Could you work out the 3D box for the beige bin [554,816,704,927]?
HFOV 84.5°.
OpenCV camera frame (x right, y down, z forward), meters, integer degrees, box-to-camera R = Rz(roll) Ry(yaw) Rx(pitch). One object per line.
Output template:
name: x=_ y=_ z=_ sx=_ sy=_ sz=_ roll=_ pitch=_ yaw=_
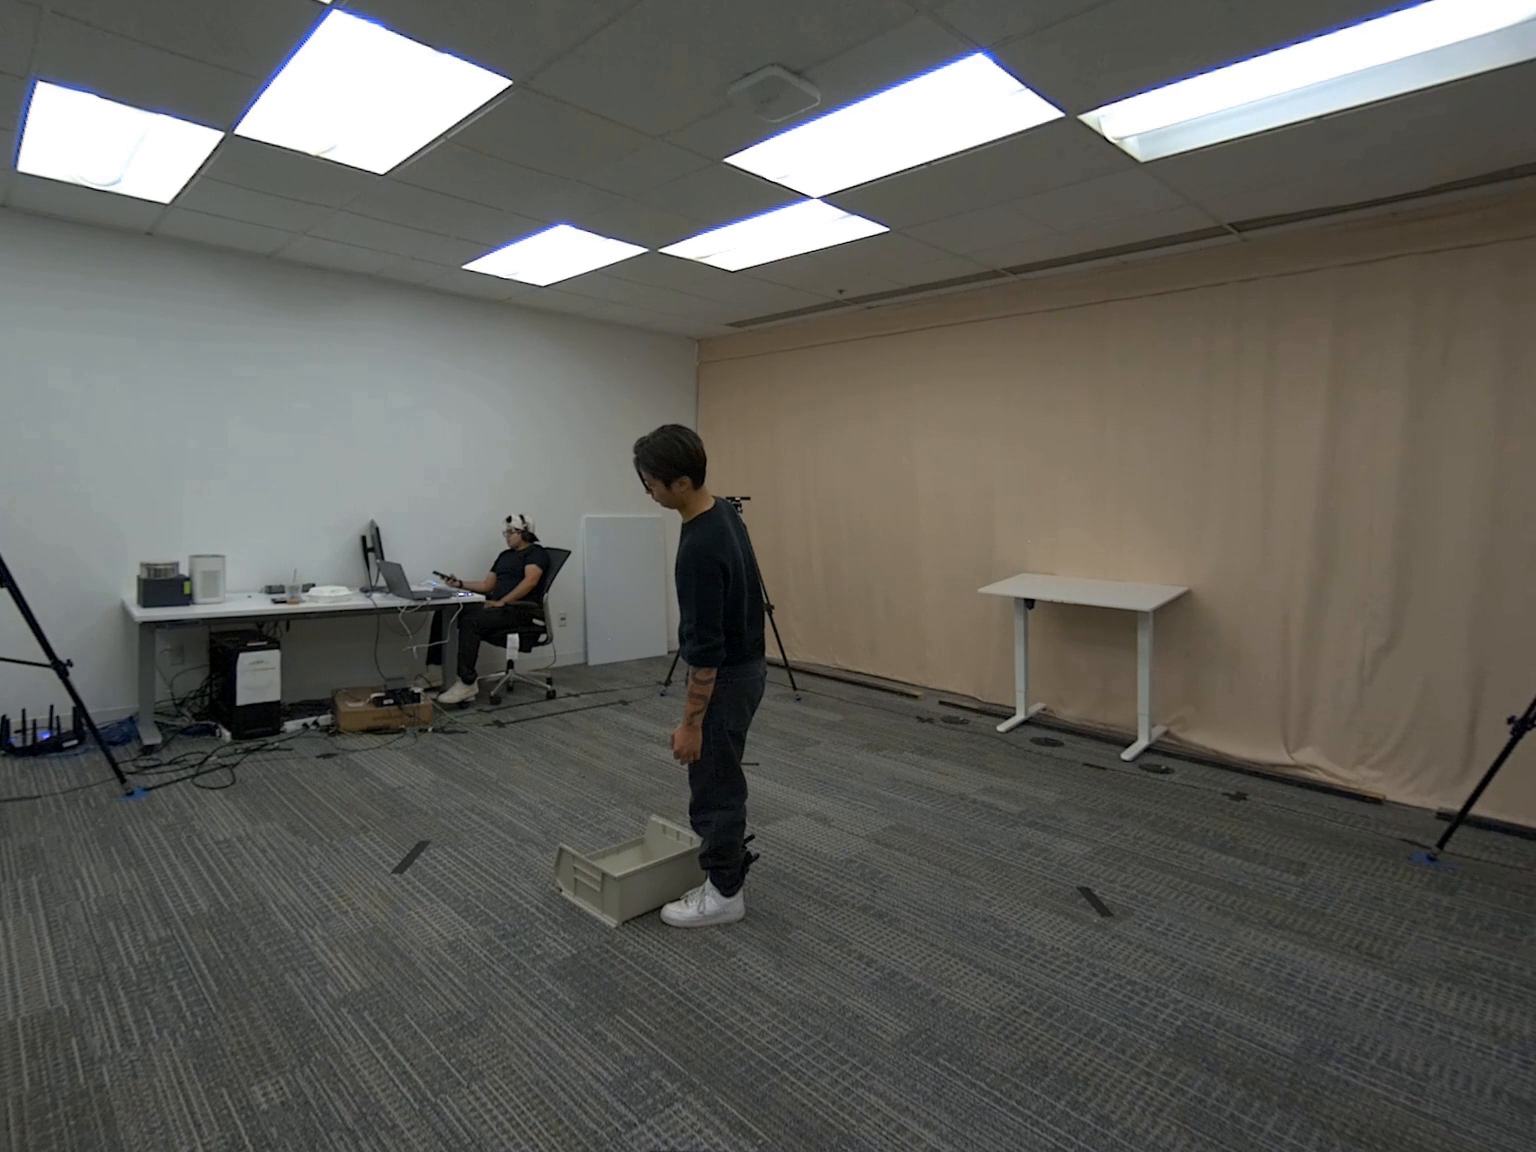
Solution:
beige bin: x=-0.484 y=1.024 z=2.971 sx=0.387 sy=0.188 sz=0.413 roll=7 pitch=7 yaw=44
